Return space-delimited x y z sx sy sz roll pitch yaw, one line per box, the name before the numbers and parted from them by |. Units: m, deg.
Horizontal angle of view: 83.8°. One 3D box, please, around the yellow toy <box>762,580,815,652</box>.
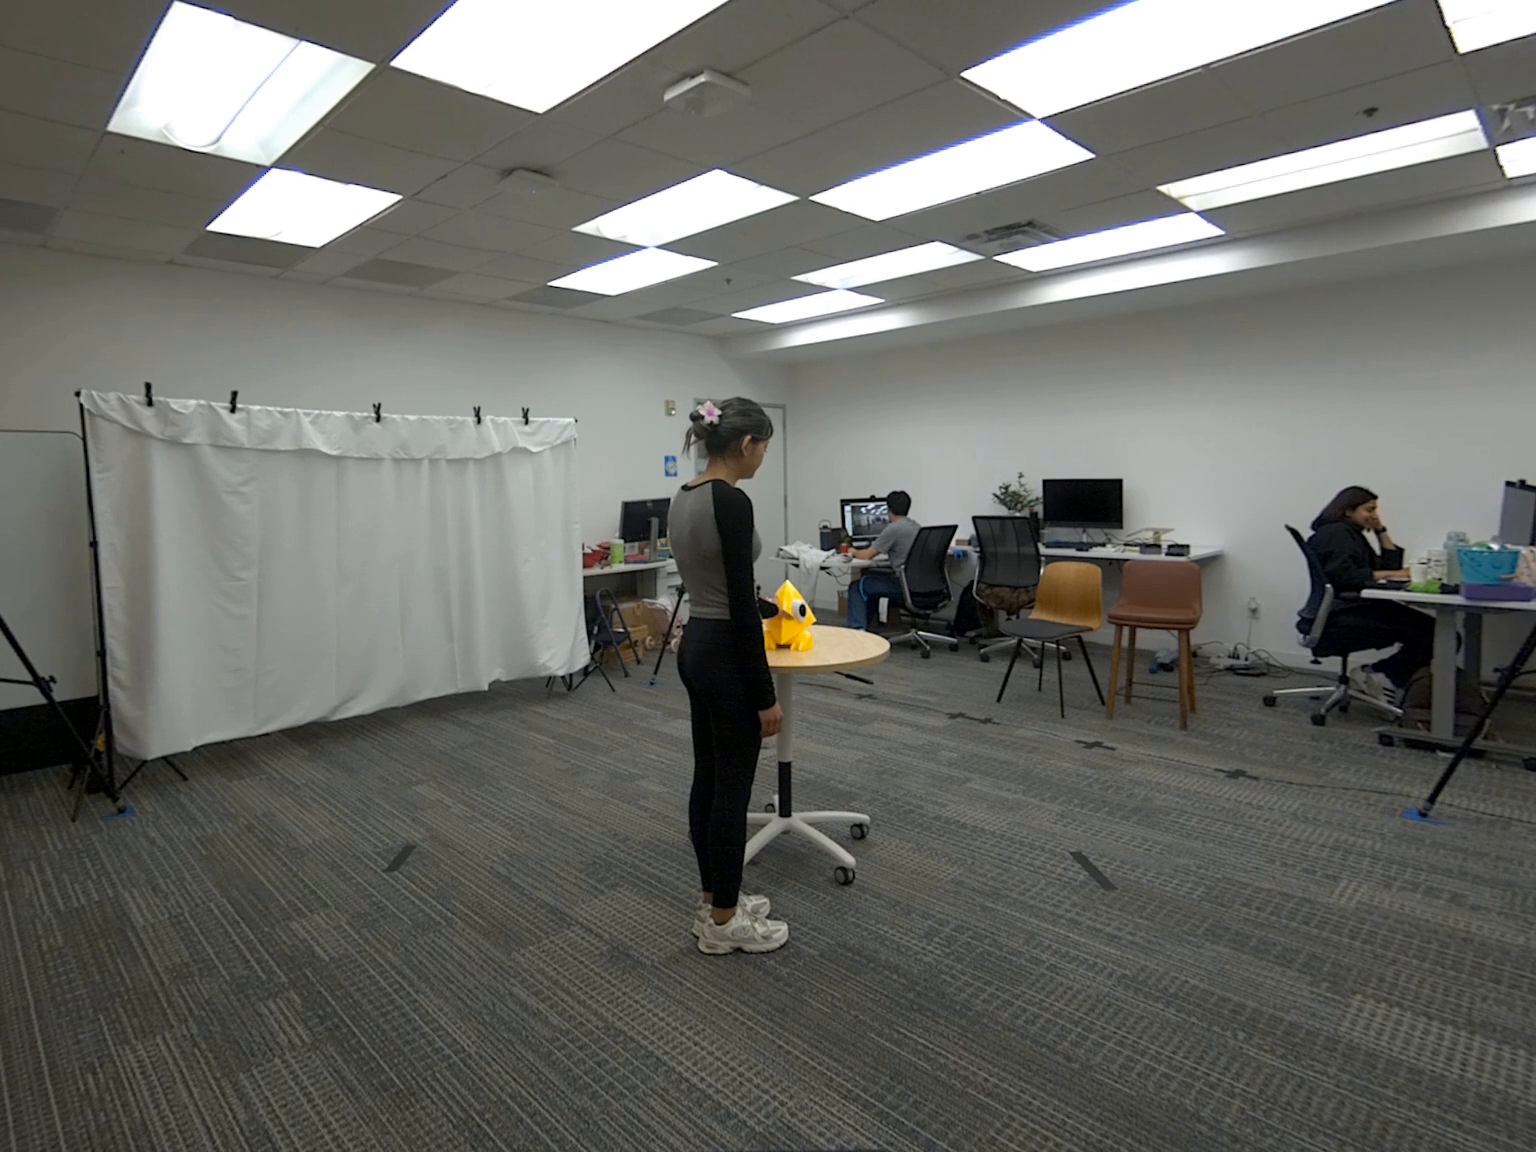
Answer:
yellow toy | 0.065 0.140 3.074 0.207 0.229 0.192 0 6 11
